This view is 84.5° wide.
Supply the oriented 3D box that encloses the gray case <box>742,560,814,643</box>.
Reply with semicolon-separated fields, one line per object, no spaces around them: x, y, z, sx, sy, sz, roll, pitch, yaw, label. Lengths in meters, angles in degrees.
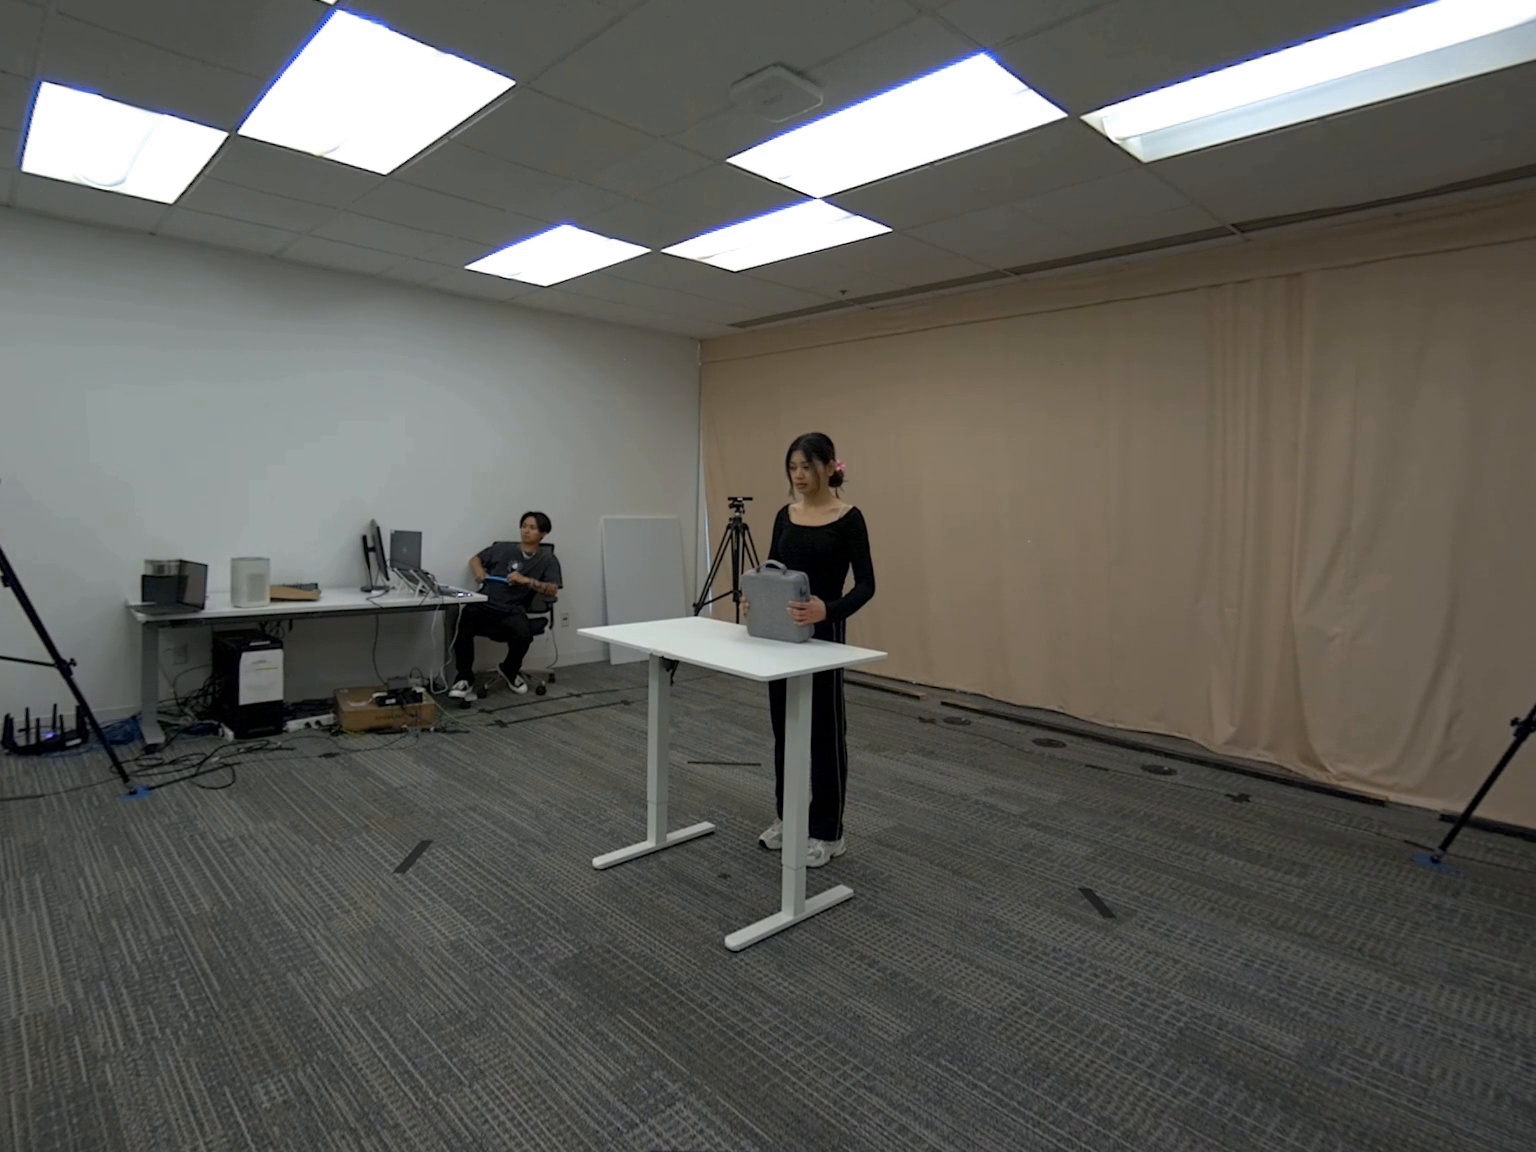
0.025;0.102;3.055;0.263;0.258;0.103;4;18;39;gray case
